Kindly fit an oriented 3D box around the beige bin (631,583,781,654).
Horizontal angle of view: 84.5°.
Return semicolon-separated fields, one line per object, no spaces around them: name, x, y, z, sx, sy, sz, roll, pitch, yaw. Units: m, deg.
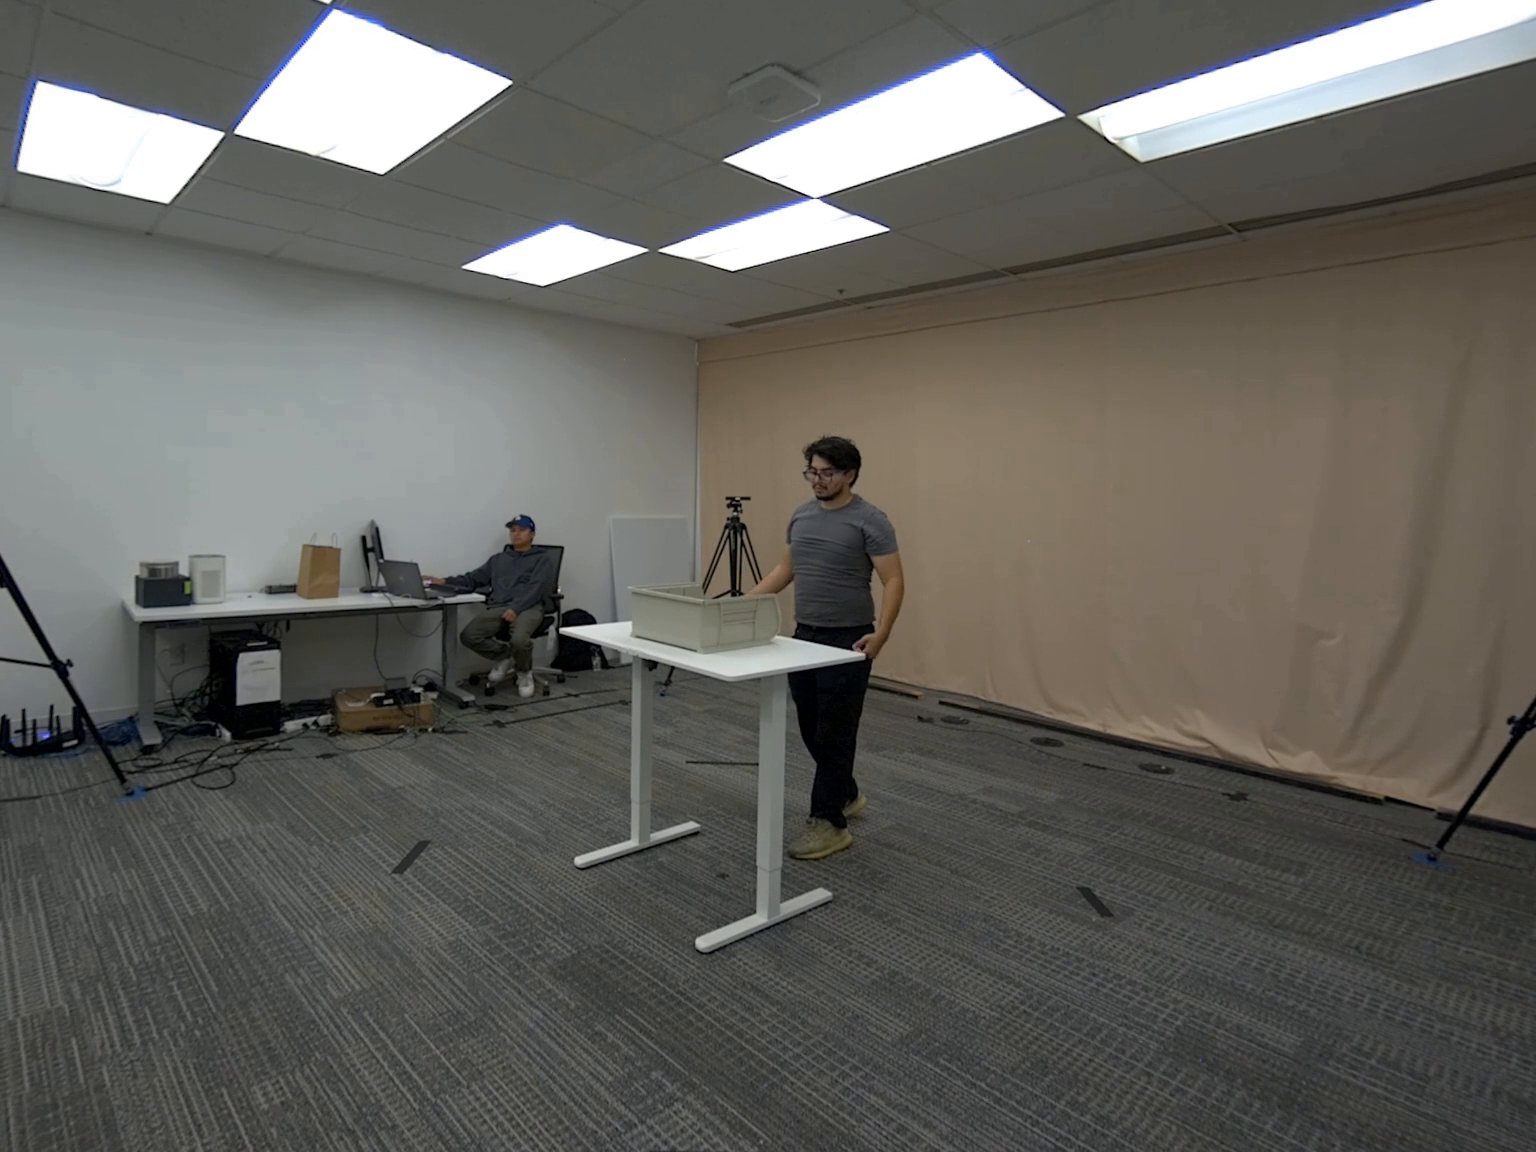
beige bin;-0.233;0.143;3.005;0.369;0.188;0.433;-5;8;-43
